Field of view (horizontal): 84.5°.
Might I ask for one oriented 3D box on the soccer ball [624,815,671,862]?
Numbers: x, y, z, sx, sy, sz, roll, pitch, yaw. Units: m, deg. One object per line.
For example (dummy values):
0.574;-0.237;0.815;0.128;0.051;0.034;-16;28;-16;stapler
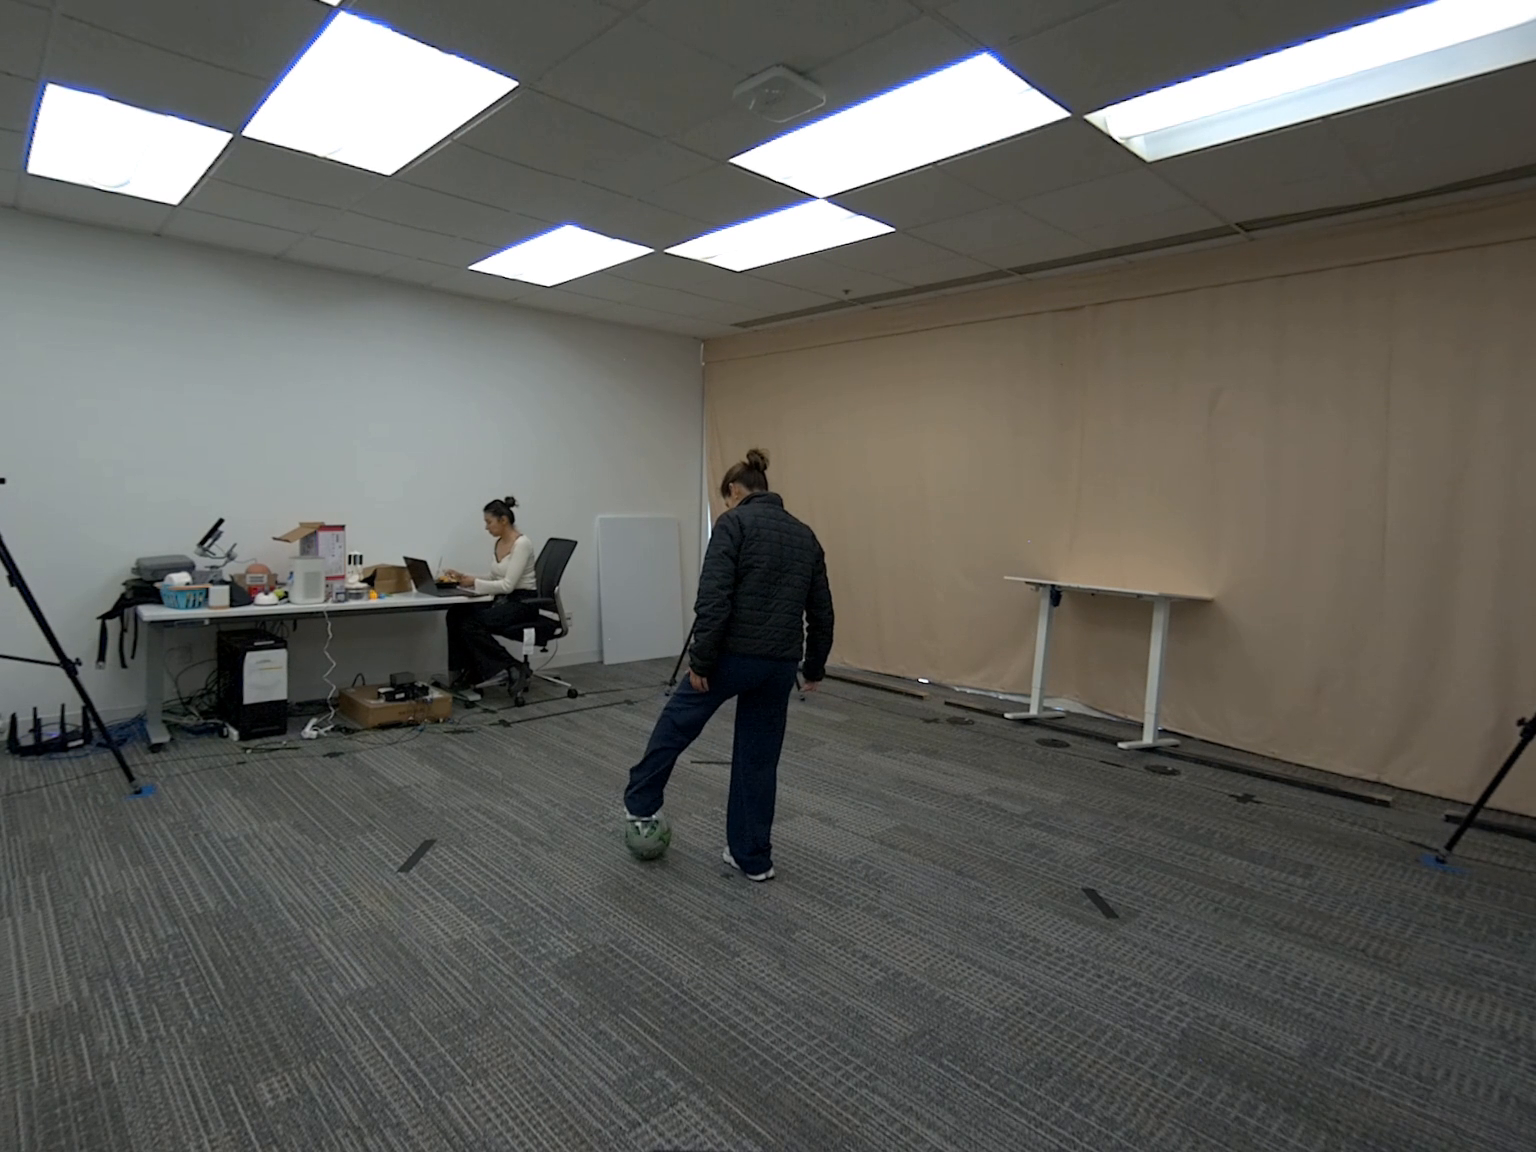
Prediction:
-0.472;0.994;3.247;0.187;0.187;0.188;1;4;-1;soccer ball
